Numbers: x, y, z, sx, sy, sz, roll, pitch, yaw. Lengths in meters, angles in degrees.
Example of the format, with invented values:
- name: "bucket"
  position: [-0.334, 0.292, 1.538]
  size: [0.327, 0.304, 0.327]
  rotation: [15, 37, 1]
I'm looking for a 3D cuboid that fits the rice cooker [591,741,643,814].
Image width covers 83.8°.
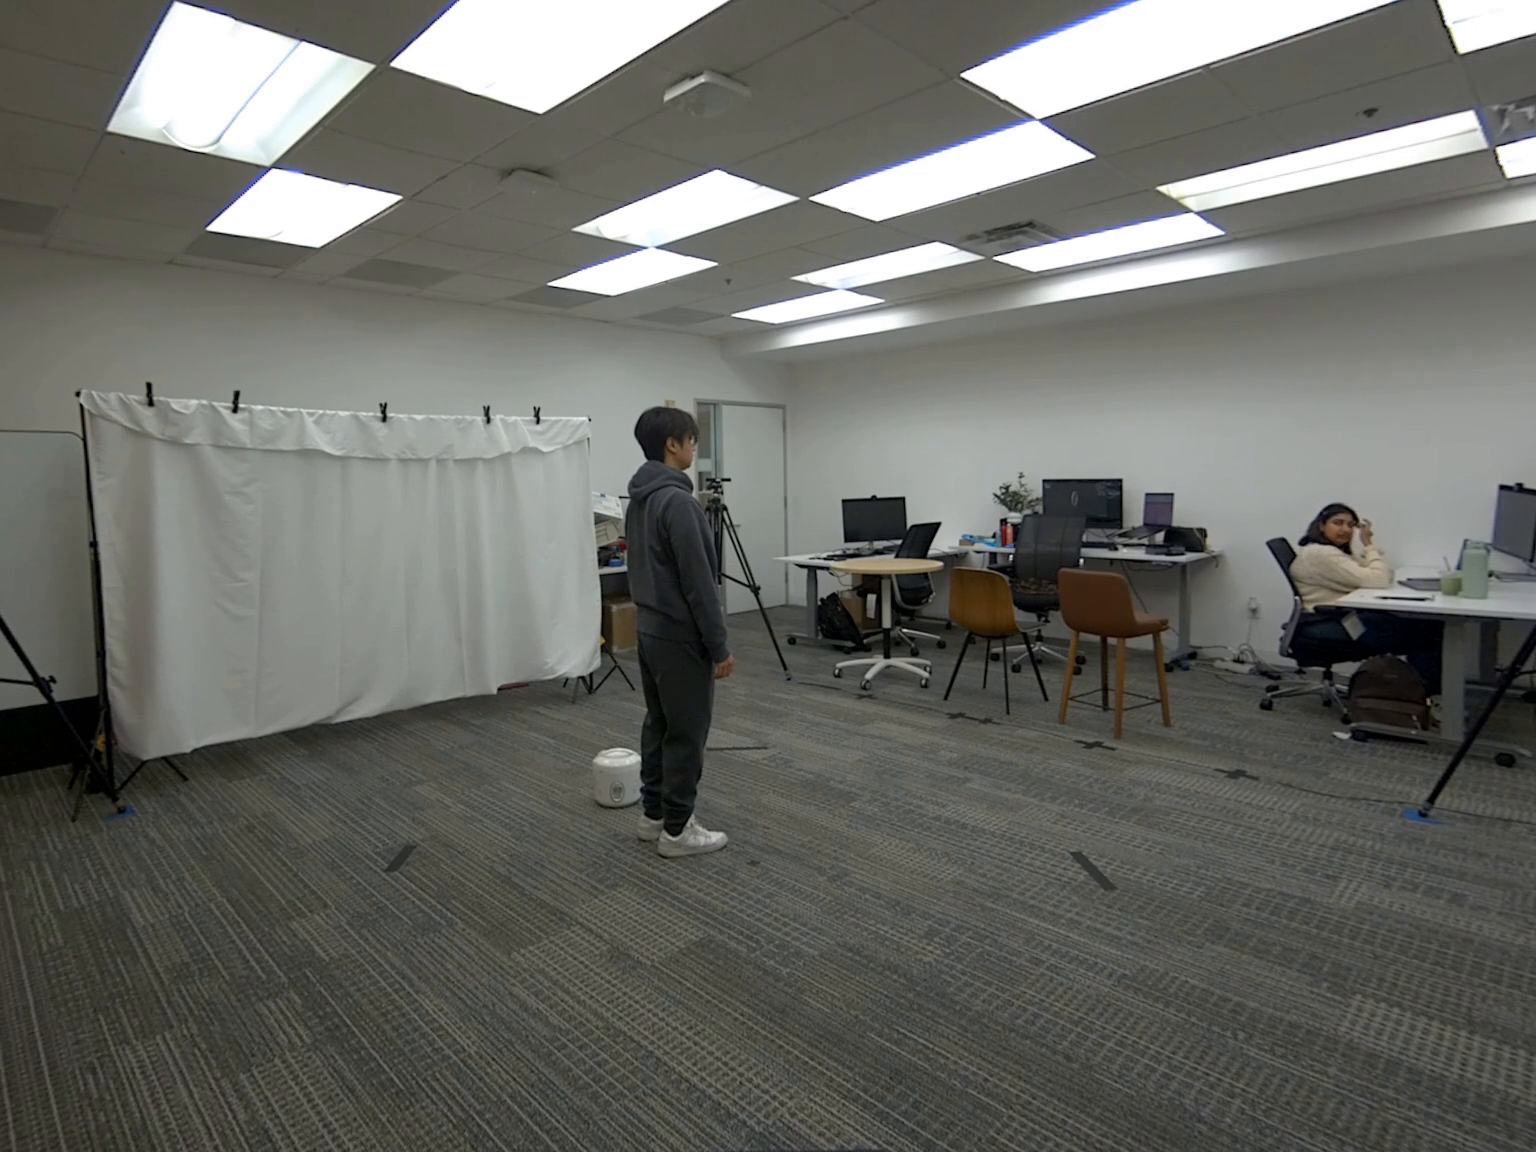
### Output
- name: "rice cooker"
  position: [-0.649, 0.870, 3.731]
  size: [0.219, 0.232, 0.219]
  rotation: [-1, 4, -7]
